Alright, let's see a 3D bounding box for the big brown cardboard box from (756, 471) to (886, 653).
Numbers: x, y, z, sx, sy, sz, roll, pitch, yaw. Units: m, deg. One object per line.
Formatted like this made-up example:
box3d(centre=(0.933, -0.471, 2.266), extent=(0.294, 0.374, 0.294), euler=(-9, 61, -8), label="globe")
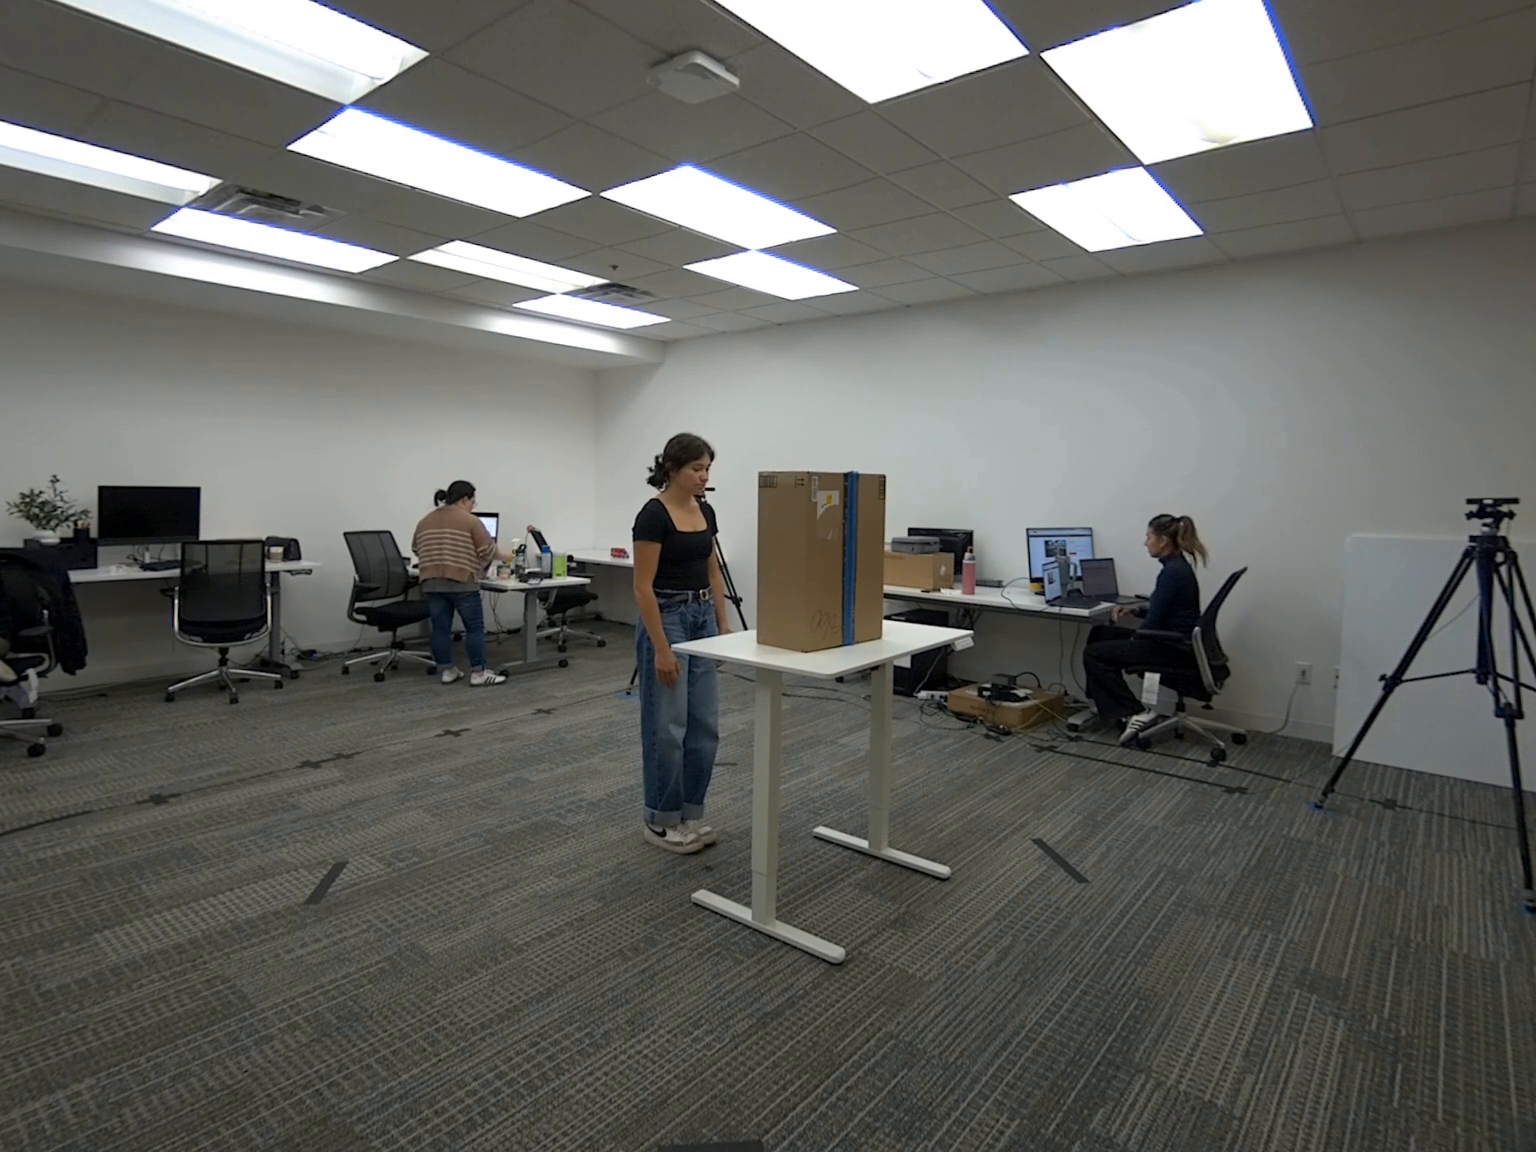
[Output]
box3d(centre=(0.176, -0.071, 2.849), extent=(0.241, 0.586, 0.405), euler=(6, 7, 44), label="big brown cardboard box")
